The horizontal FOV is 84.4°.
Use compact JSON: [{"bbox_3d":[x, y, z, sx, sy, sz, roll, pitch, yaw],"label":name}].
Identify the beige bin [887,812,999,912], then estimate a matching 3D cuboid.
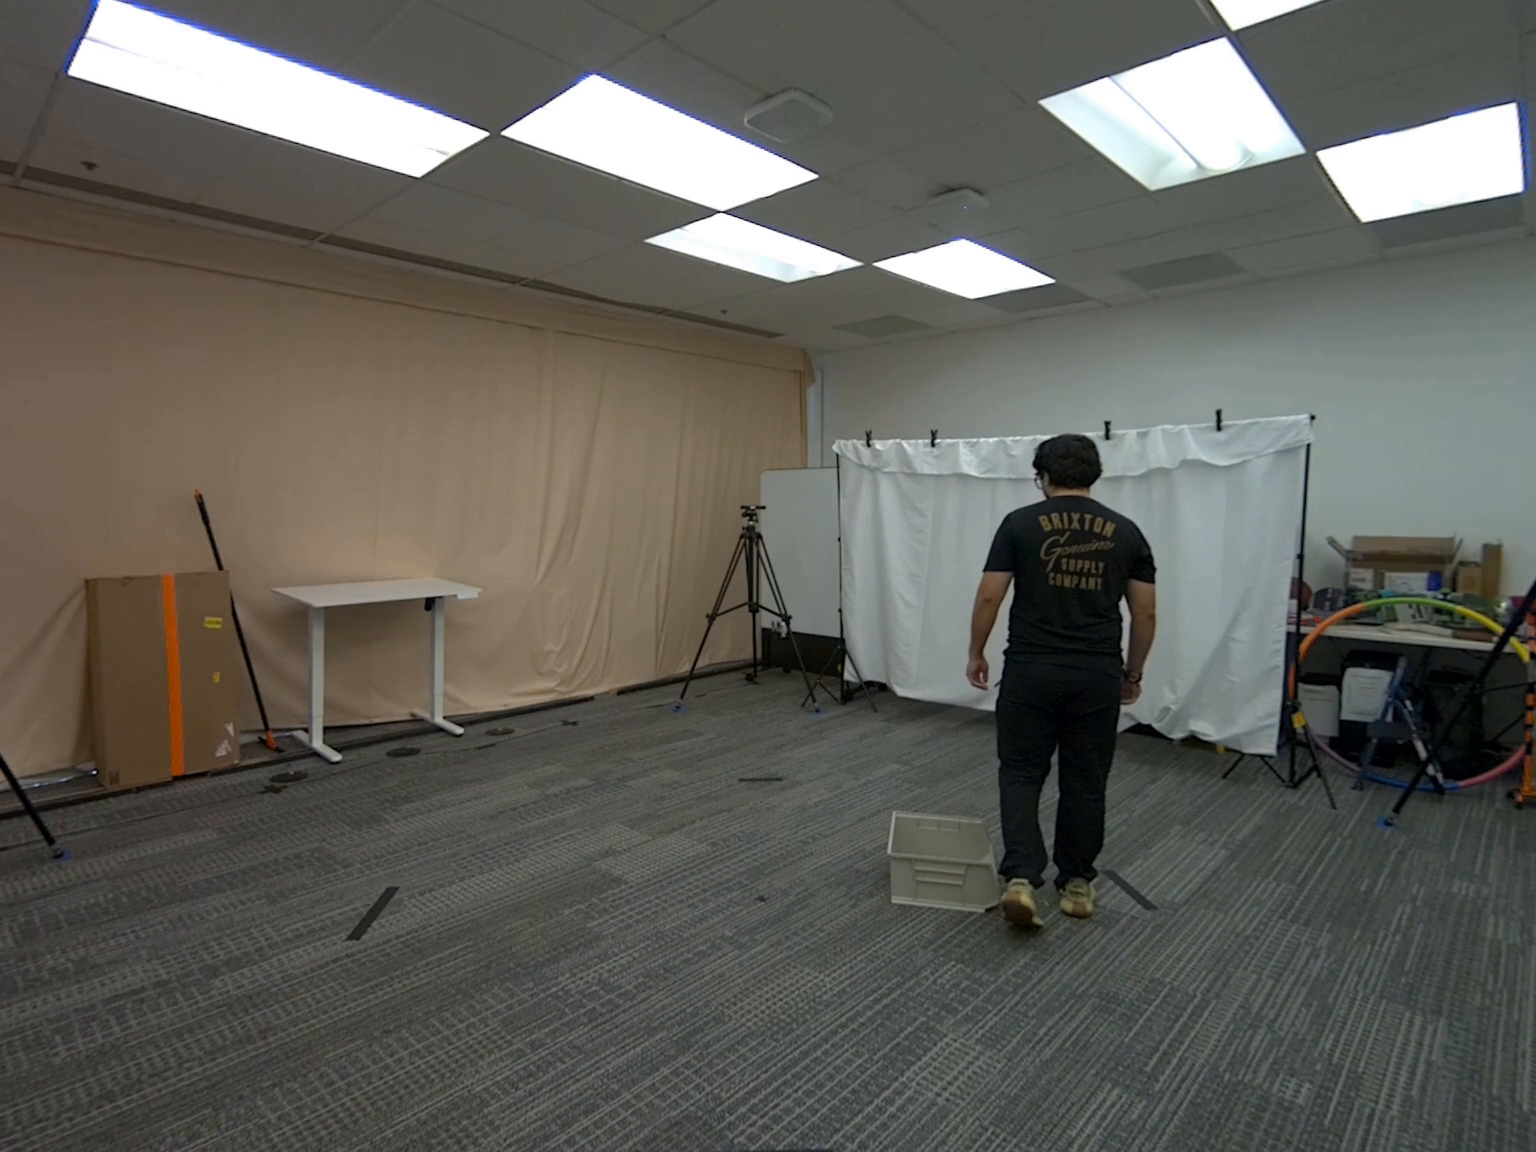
[{"bbox_3d":[0.649,1.044,3.098,0.383,0.188,0.418,0,5,12],"label":"beige bin"}]
